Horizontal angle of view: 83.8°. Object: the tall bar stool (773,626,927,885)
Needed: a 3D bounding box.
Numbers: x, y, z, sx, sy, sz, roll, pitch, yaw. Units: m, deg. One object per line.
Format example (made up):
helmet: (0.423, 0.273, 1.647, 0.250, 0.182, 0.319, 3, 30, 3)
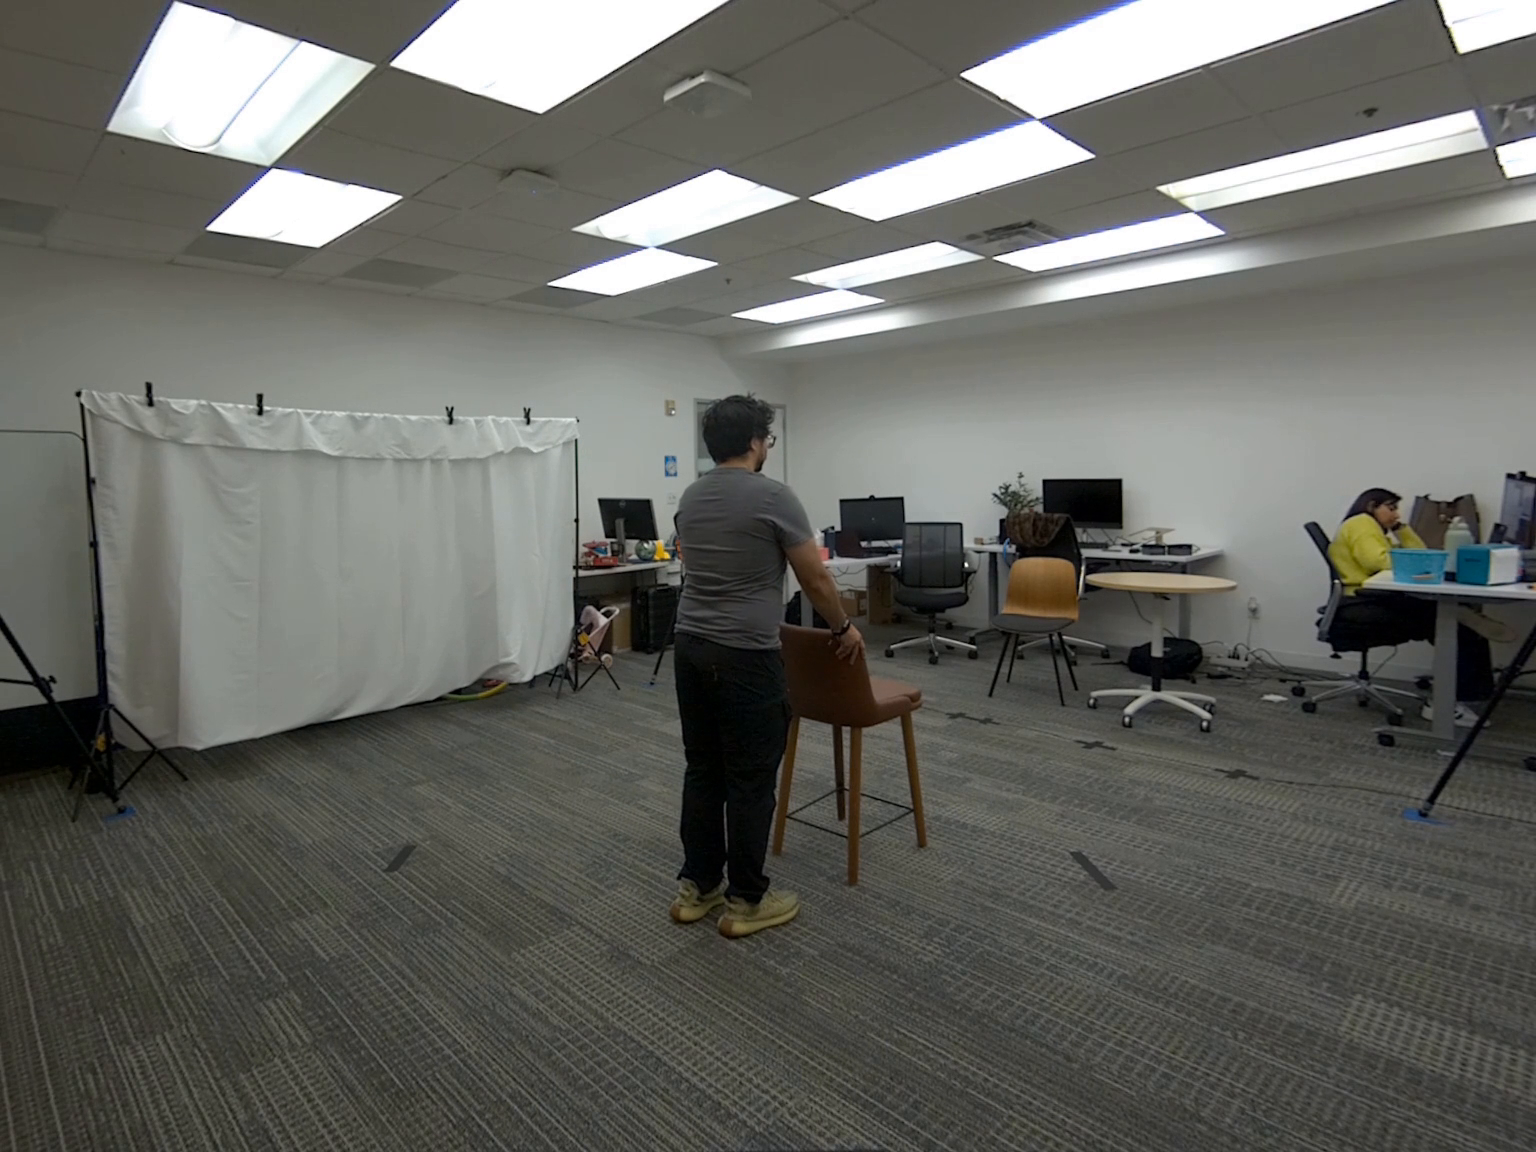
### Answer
tall bar stool: (0.290, 0.591, 3.171, 0.470, 0.885, 0.456, 4, 8, 43)
